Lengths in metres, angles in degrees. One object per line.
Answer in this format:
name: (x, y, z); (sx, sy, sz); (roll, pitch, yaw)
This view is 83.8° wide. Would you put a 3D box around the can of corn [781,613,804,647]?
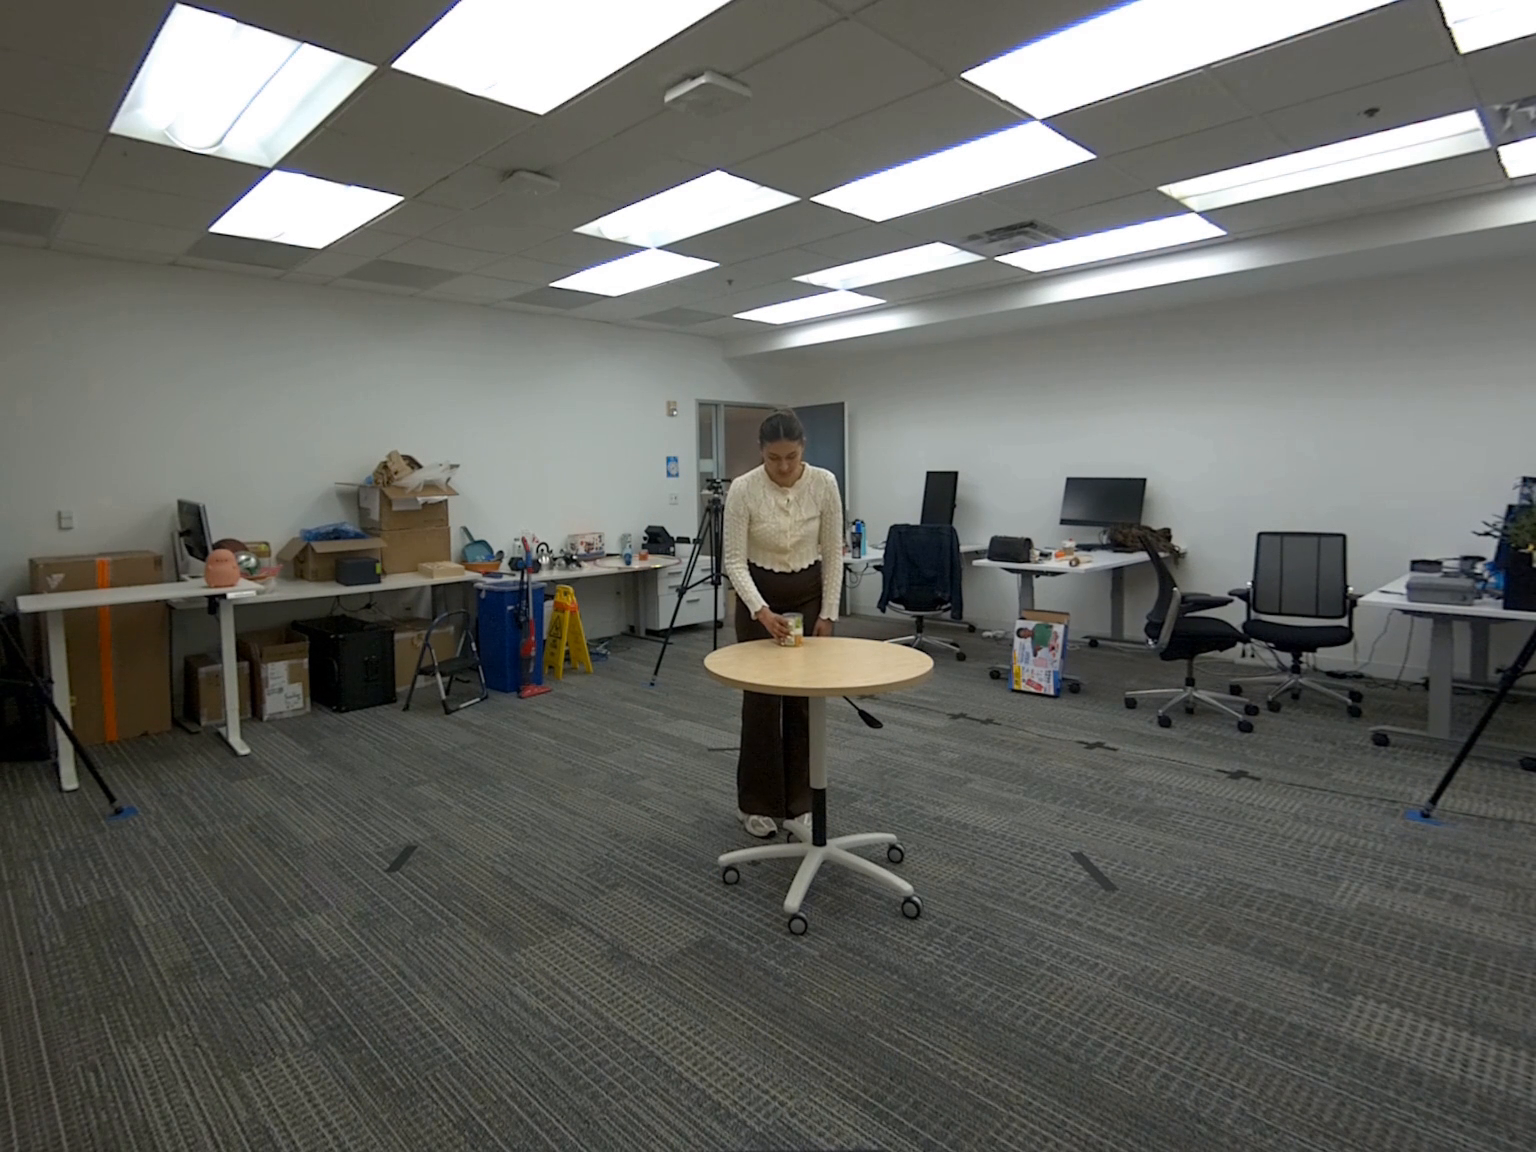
can of corn: (0.078, 0.201, 3.109); (0.074, 0.111, 0.074); (-1, 3, -2)
